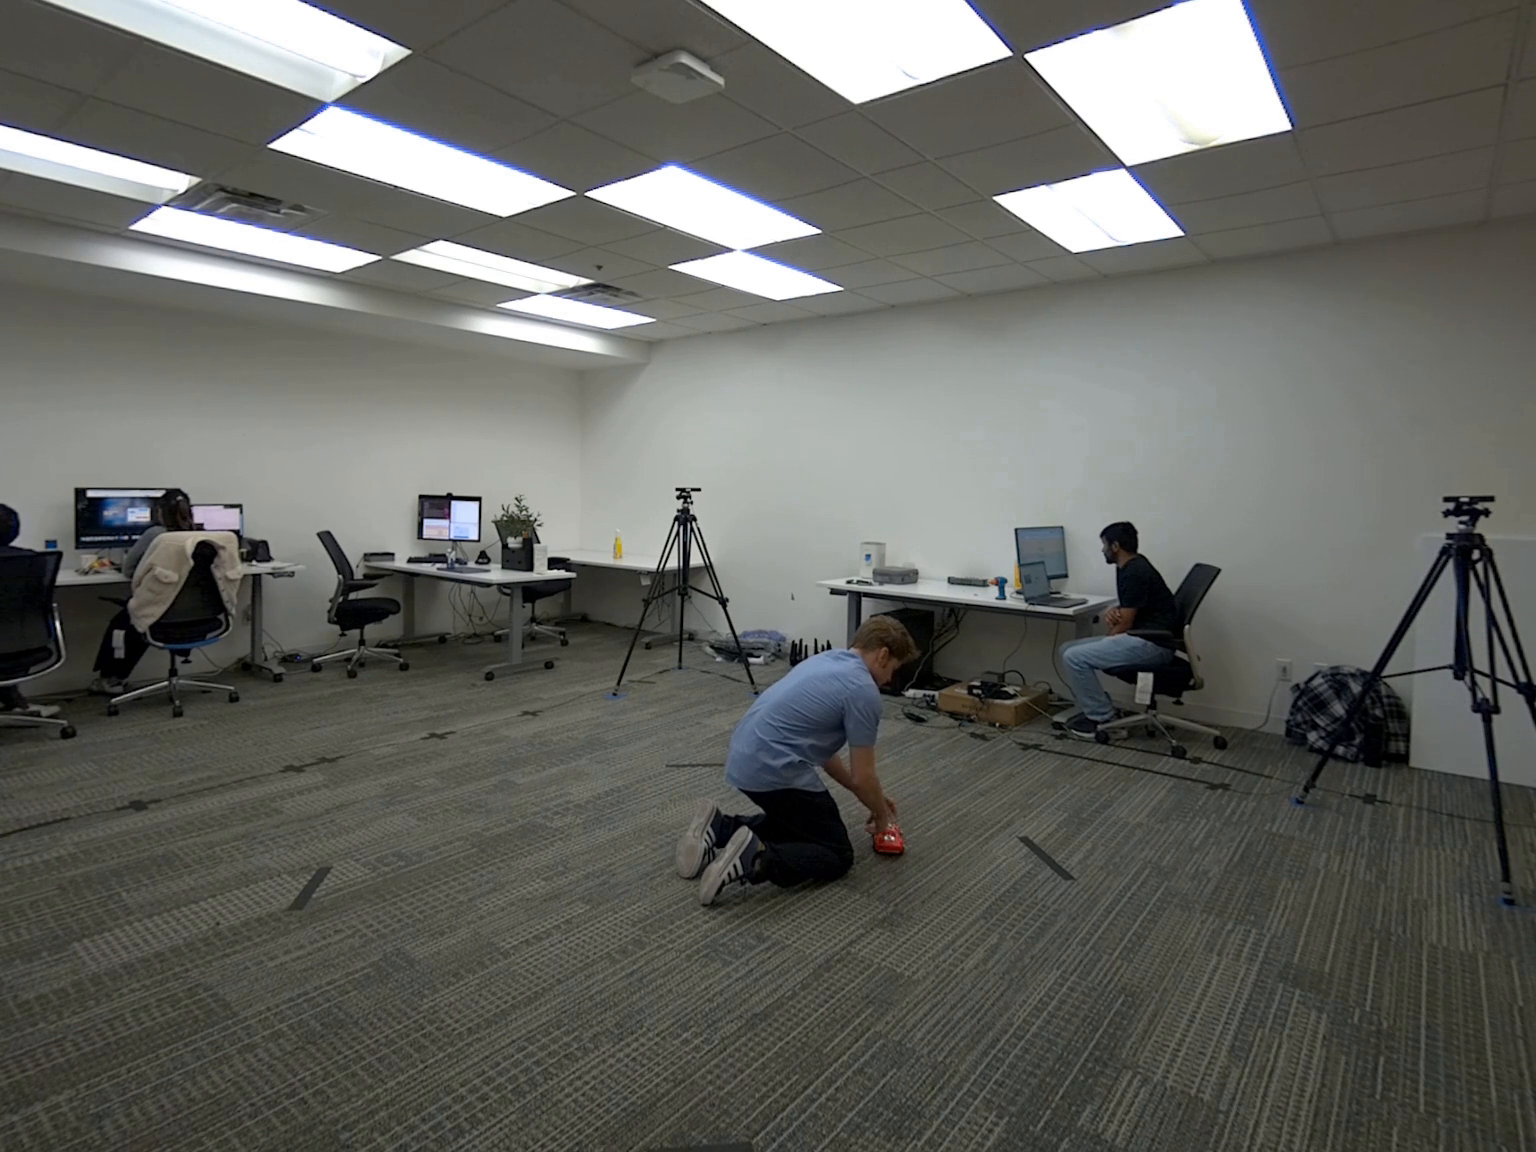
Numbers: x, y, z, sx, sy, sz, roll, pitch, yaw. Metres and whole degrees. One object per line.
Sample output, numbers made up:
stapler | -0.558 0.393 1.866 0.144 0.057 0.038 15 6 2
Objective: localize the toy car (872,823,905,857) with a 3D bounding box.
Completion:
toy car | 0.463 1.032 3.336 0.131 0.084 0.251 2 -5 5
